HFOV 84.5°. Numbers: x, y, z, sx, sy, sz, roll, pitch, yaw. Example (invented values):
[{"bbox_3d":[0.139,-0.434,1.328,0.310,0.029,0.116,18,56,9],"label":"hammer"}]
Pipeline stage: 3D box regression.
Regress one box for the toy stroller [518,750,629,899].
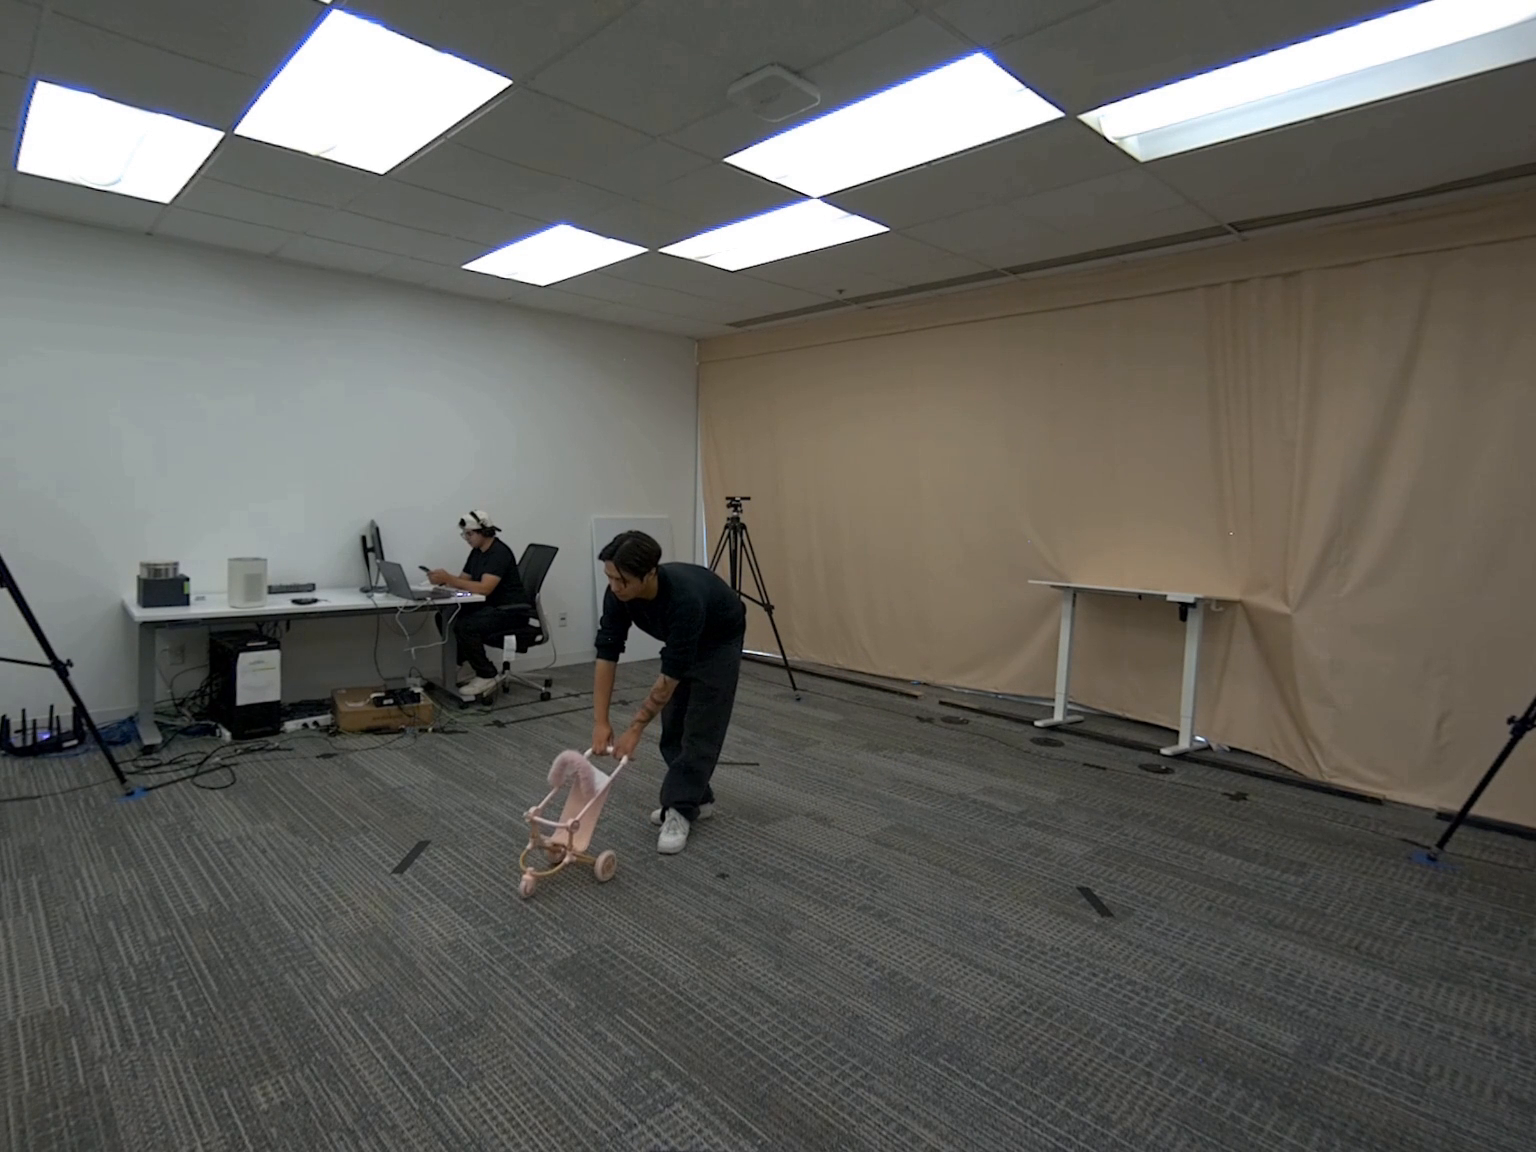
[{"bbox_3d":[-0.727,0.877,3.048,0.288,0.538,0.331,4,-12,38],"label":"toy stroller"}]
